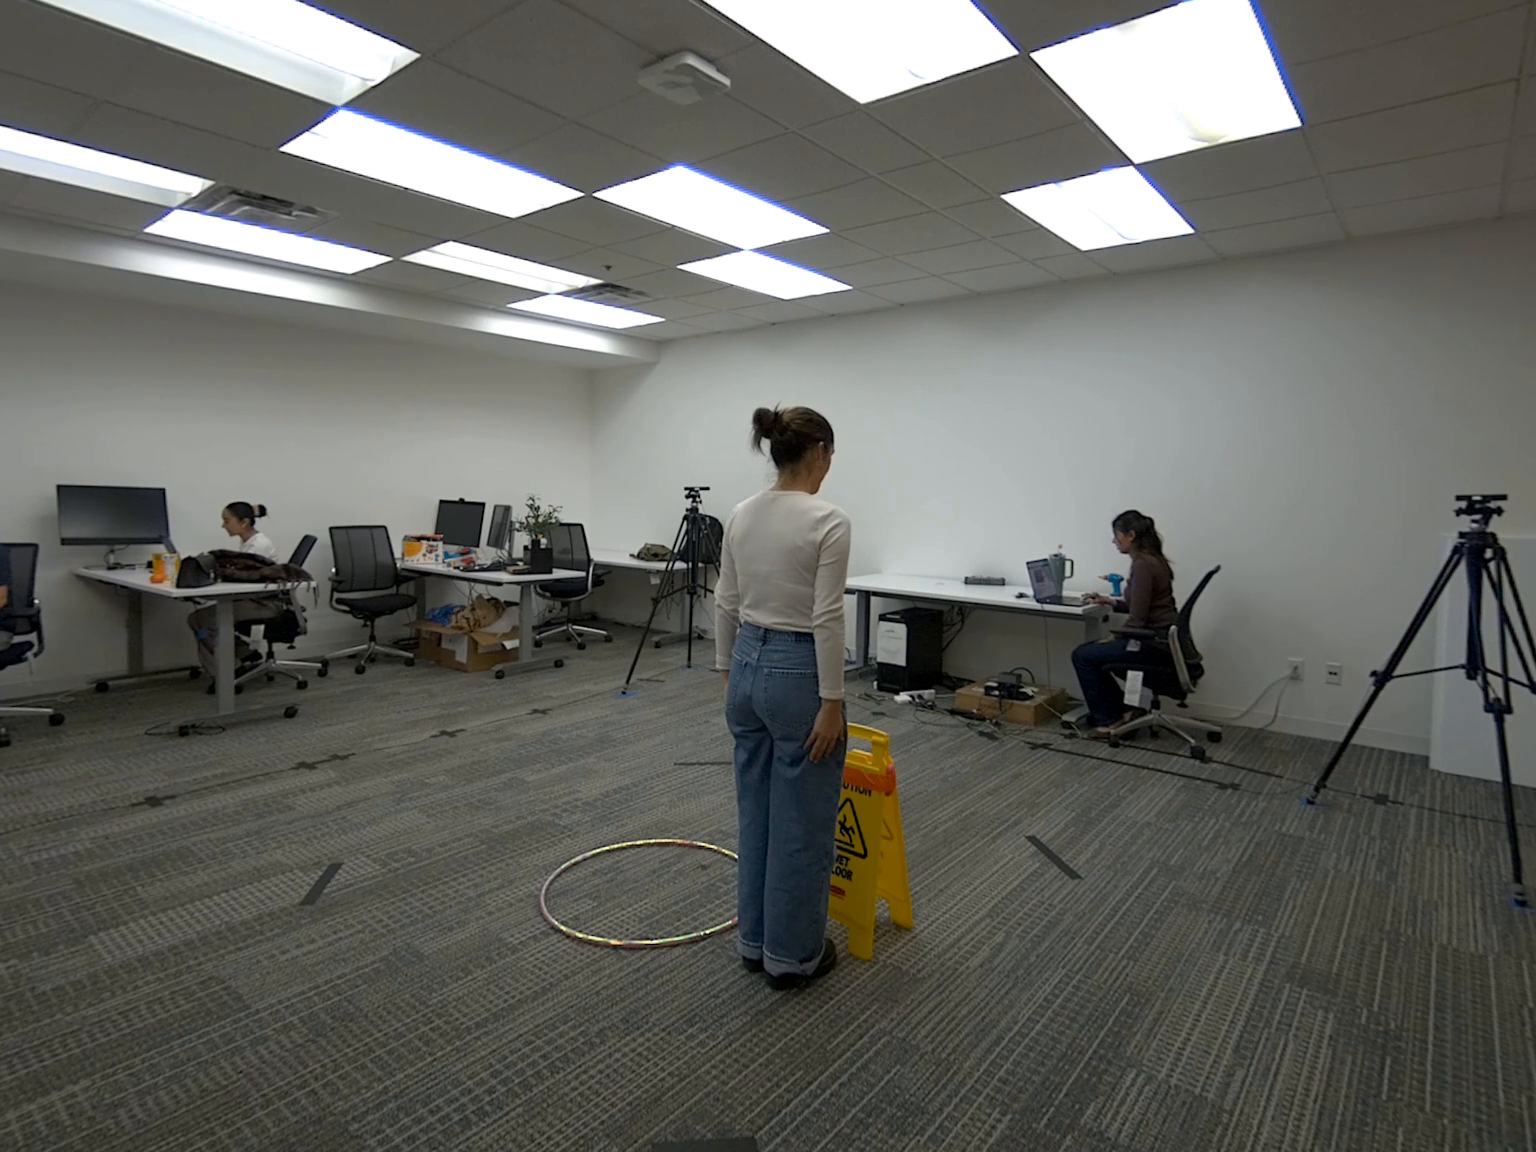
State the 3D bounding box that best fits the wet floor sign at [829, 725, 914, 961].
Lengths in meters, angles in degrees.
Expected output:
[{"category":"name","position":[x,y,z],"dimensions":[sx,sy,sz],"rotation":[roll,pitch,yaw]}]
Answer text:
[{"category":"wet floor sign","position":[0.275,0.792,2.686],"dimensions":[0.292,0.644,0.281],"rotation":[5,4,40]}]
